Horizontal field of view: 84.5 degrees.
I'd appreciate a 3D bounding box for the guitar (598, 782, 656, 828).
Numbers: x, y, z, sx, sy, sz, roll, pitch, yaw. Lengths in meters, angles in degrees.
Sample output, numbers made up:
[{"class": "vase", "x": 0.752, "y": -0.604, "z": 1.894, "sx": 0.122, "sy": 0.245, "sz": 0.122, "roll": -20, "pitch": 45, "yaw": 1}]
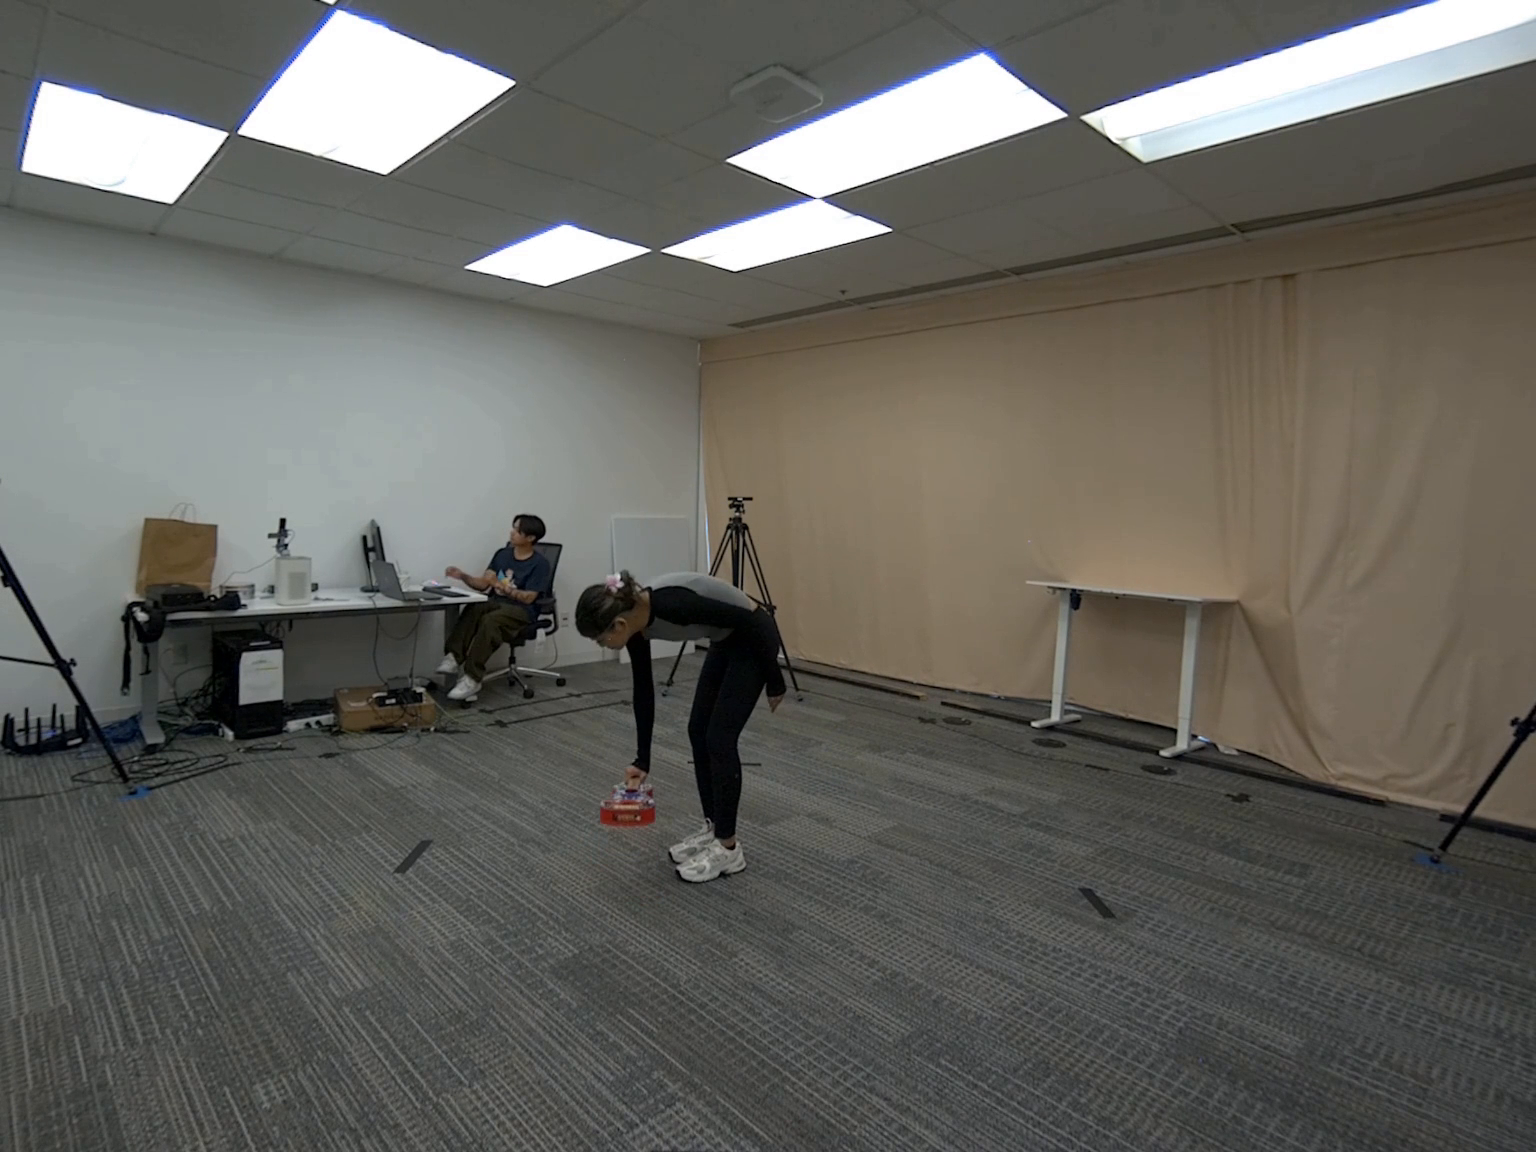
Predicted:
[{"class": "guitar", "x": -0.484, "y": 0.803, "z": 3.124, "sx": 0.194, "sy": 0.070, "sz": 0.497, "roll": 2, "pitch": 7, "yaw": 7}]
